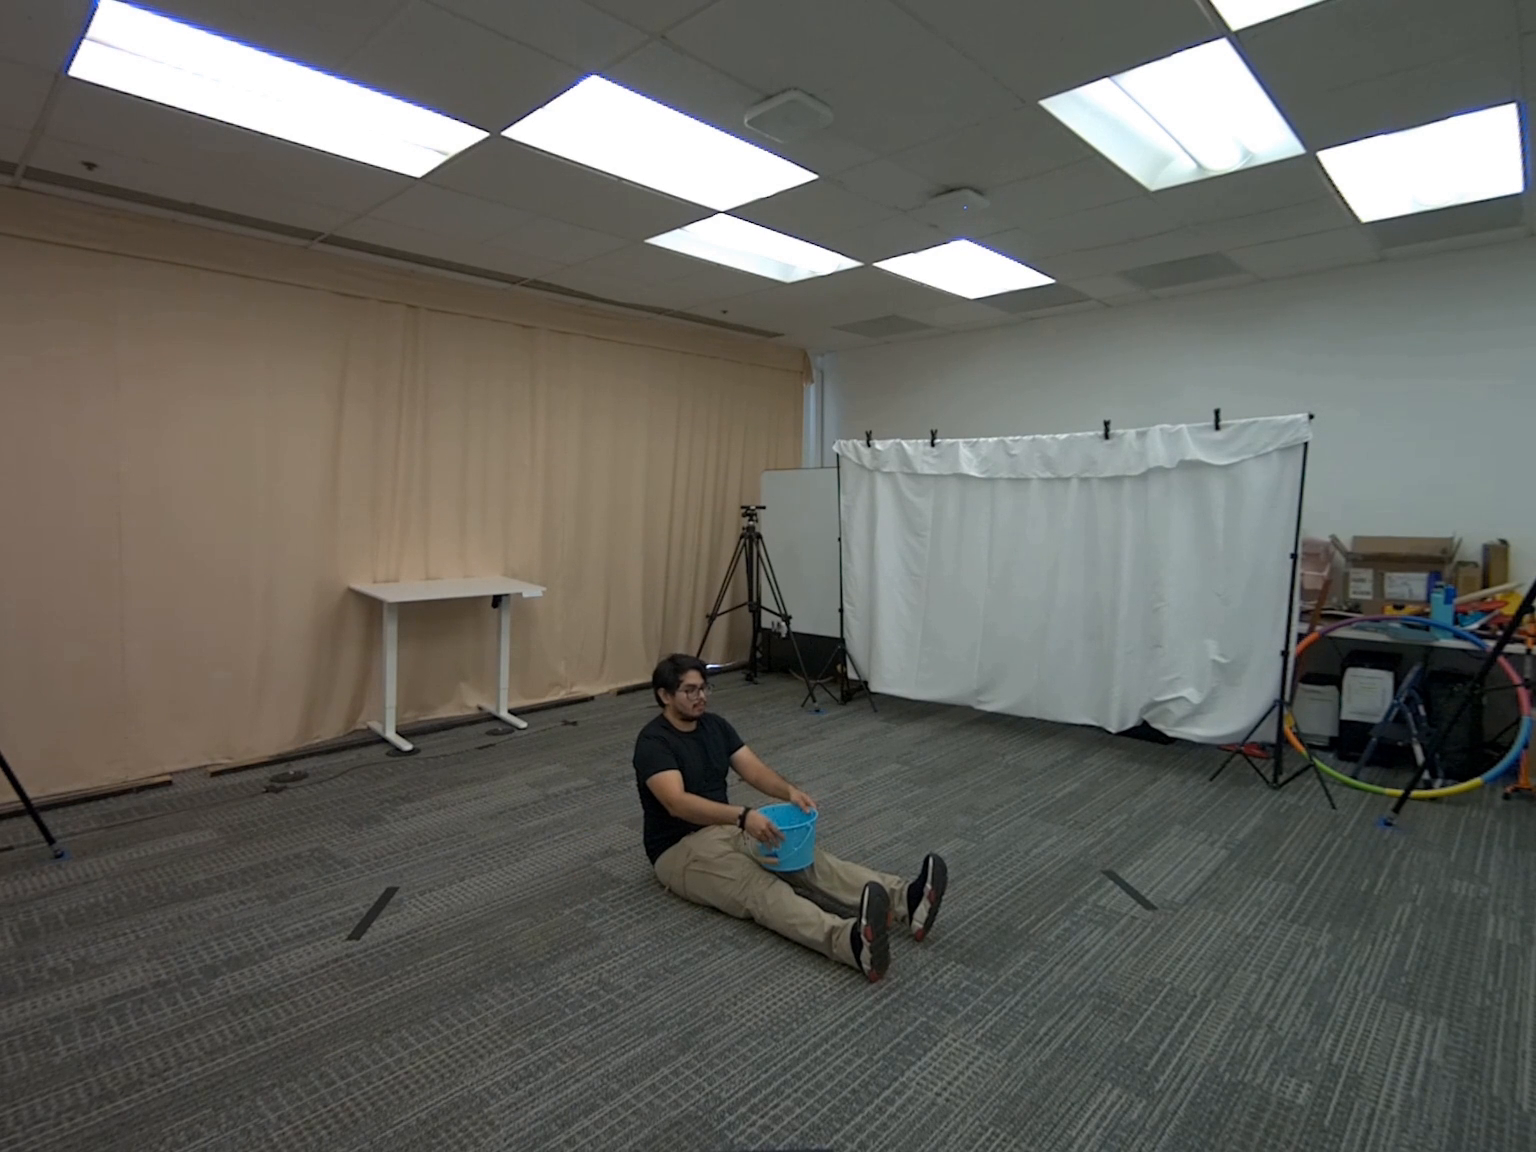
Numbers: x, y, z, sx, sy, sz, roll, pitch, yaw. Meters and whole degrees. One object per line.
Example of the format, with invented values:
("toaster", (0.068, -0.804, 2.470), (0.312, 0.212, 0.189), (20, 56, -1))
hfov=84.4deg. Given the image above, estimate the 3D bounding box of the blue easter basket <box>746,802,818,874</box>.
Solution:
("blue easter basket", (0.047, 0.895, 2.849), (0.243, 0.156, 0.244), (-6, 3, -2))
